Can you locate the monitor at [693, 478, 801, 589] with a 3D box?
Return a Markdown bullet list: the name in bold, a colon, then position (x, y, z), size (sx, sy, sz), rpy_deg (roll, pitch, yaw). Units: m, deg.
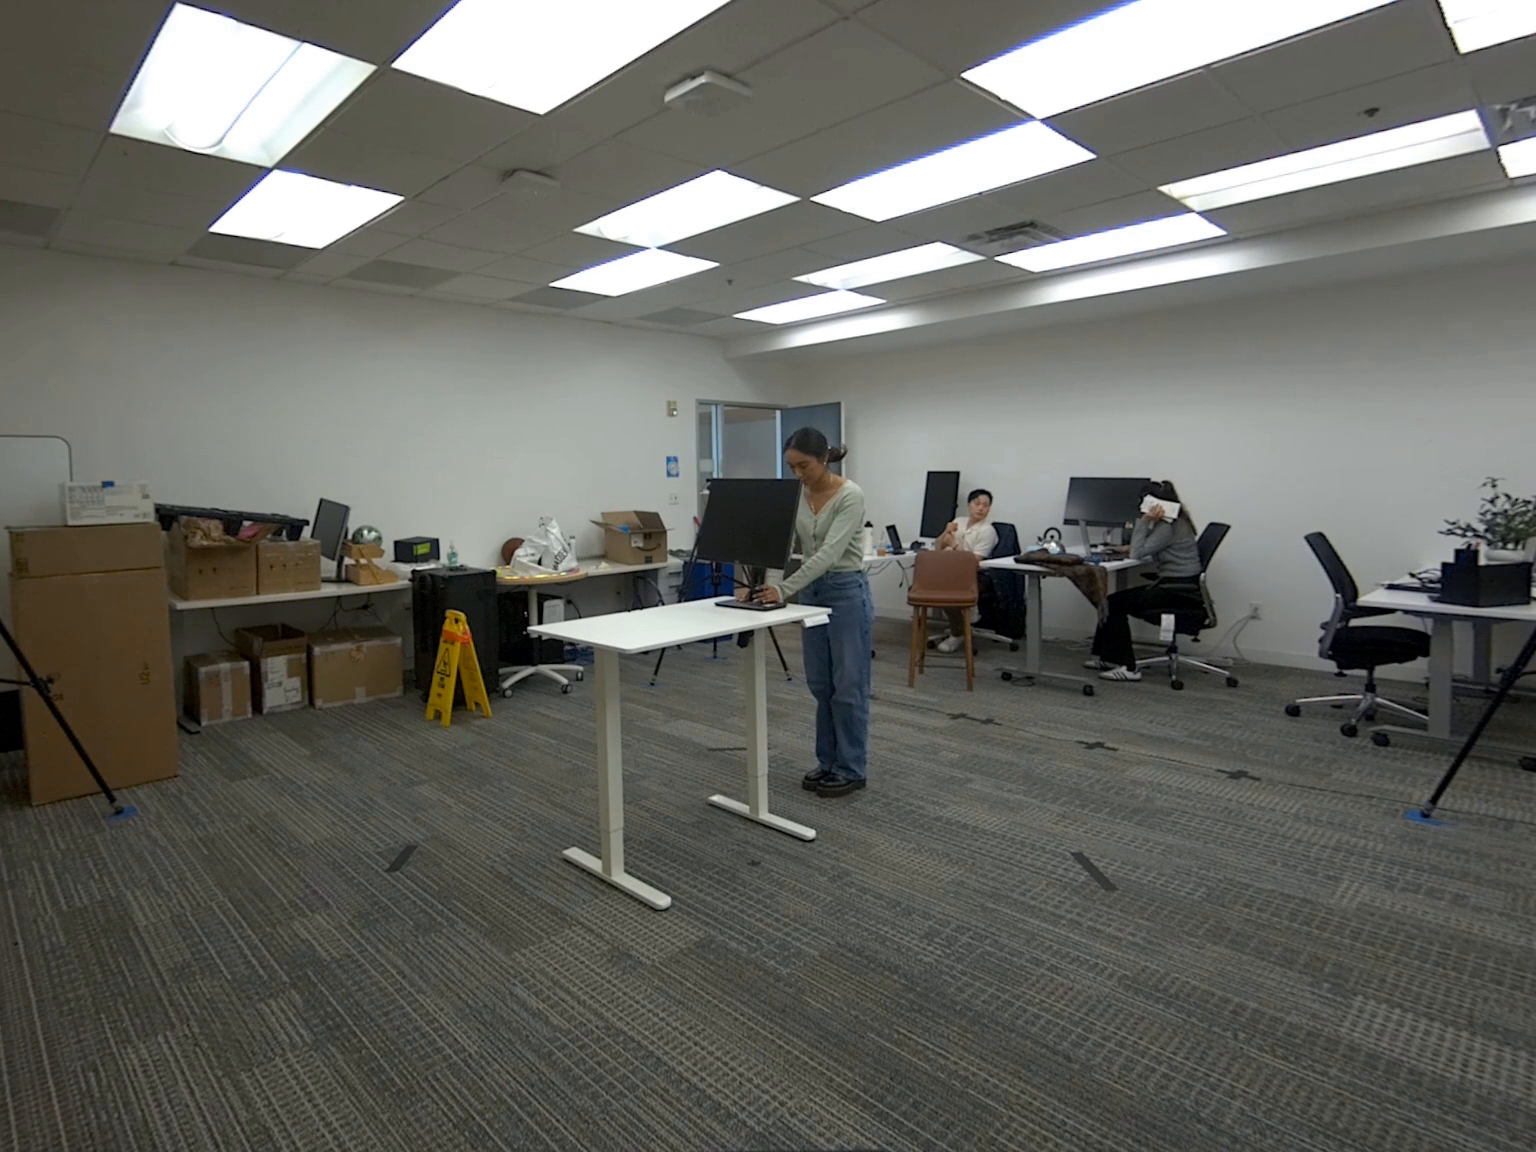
- **monitor**: position (-0.068, -0.132, 3.445), size (0.182, 0.521, 0.556), rpy_deg (-2, 6, -44)
